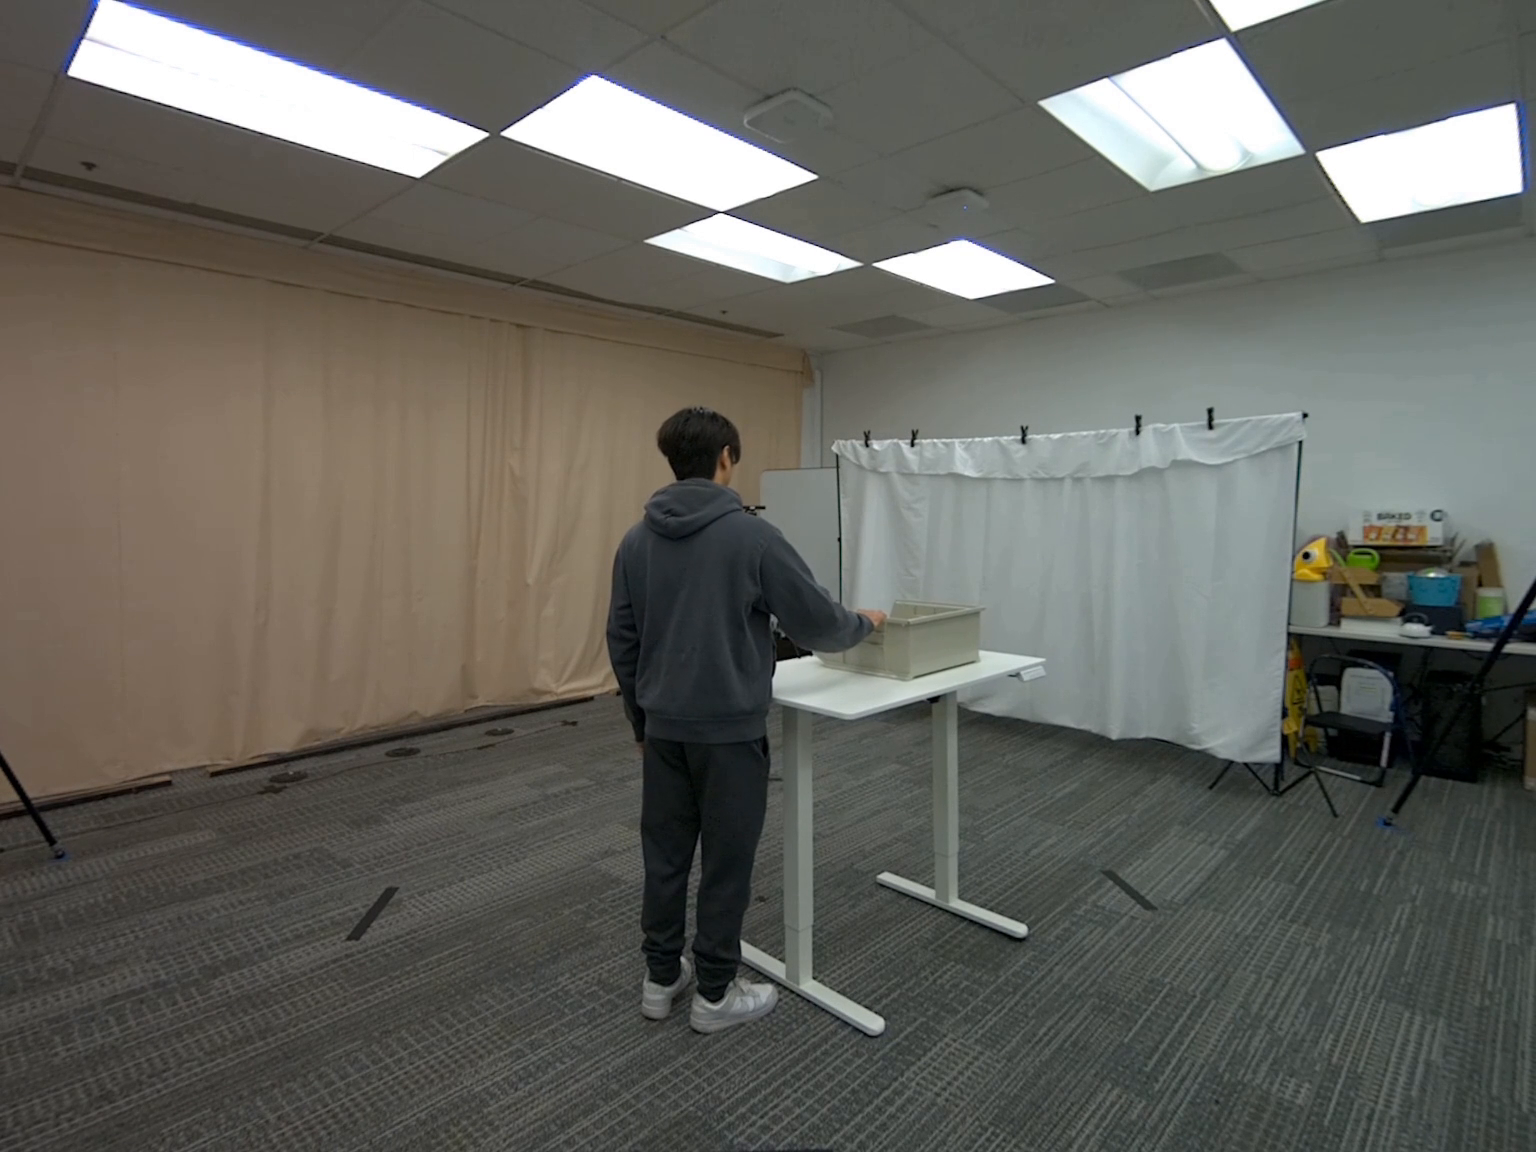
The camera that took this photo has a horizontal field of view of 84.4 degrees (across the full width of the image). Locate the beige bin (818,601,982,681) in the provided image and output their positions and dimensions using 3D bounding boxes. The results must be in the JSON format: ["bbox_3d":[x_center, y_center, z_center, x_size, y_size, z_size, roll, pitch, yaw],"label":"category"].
[{"bbox_3d":[0.420,0.195,2.694,0.409,0.188,0.390,-5,6,-45],"label":"beige bin"}]
